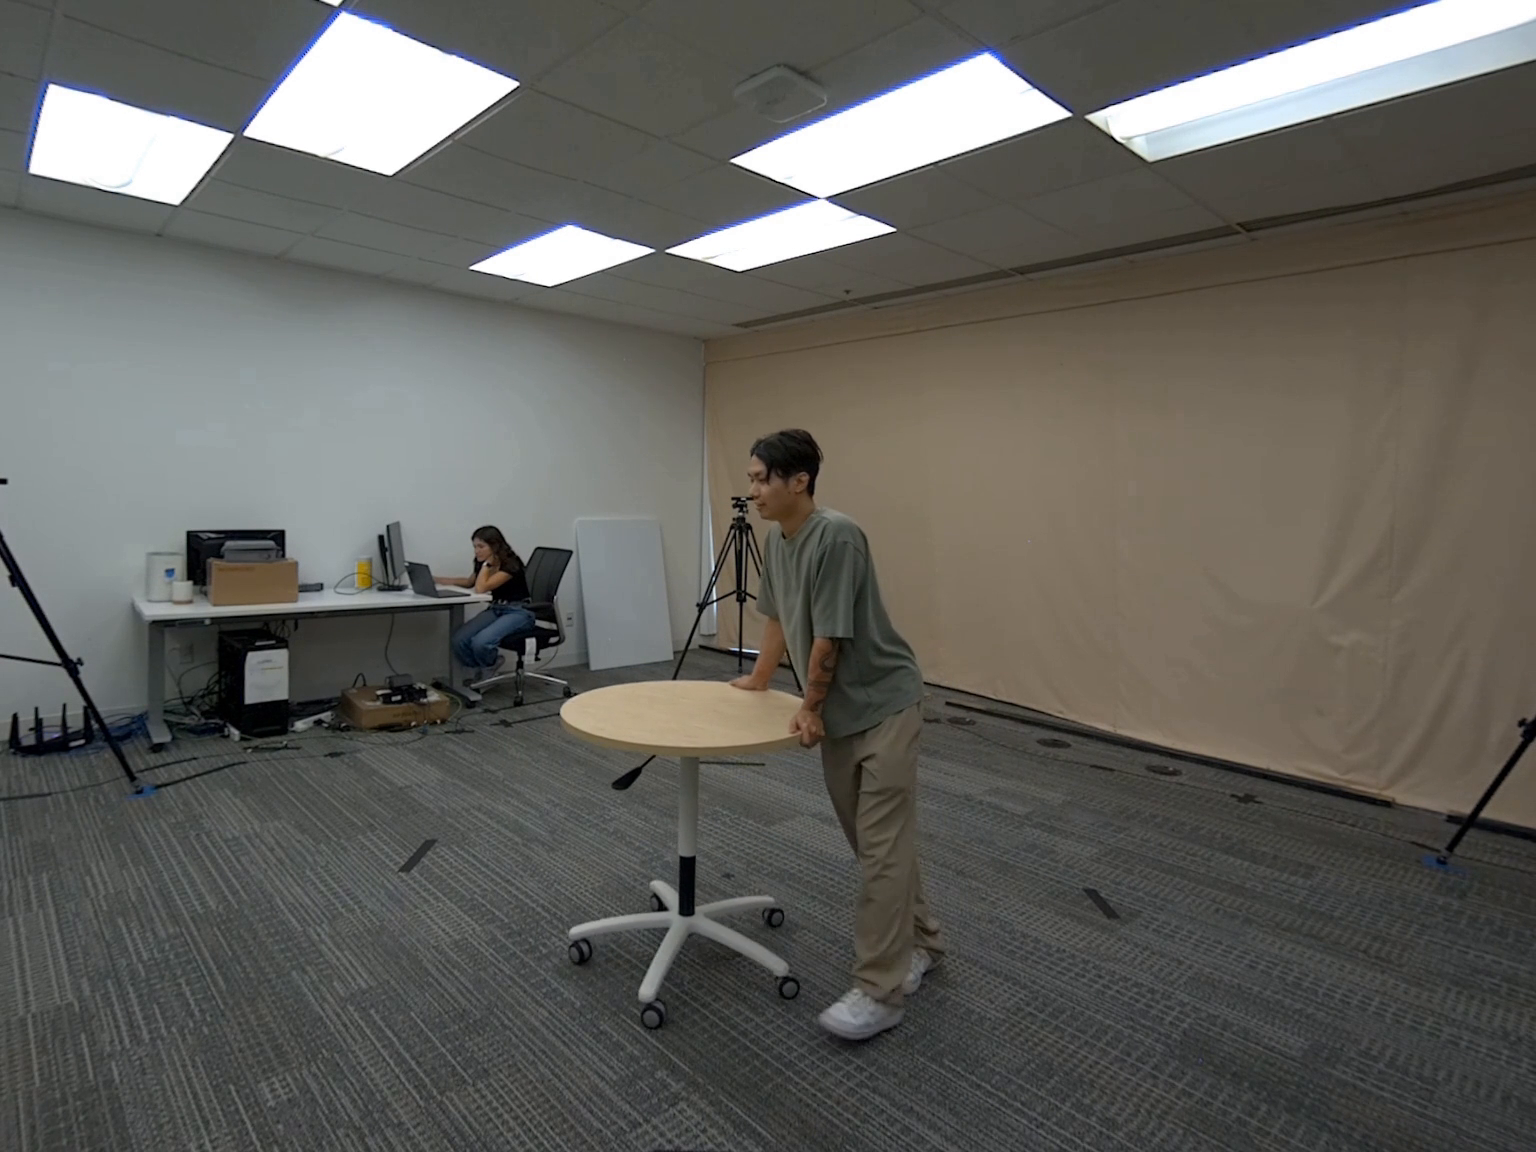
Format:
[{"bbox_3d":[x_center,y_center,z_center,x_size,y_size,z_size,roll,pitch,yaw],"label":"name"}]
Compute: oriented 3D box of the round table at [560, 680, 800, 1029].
[{"bbox_3d":[-0.240,0.770,2.544,0.784,0.784,0.788,2,5,-1],"label":"round table"}]
